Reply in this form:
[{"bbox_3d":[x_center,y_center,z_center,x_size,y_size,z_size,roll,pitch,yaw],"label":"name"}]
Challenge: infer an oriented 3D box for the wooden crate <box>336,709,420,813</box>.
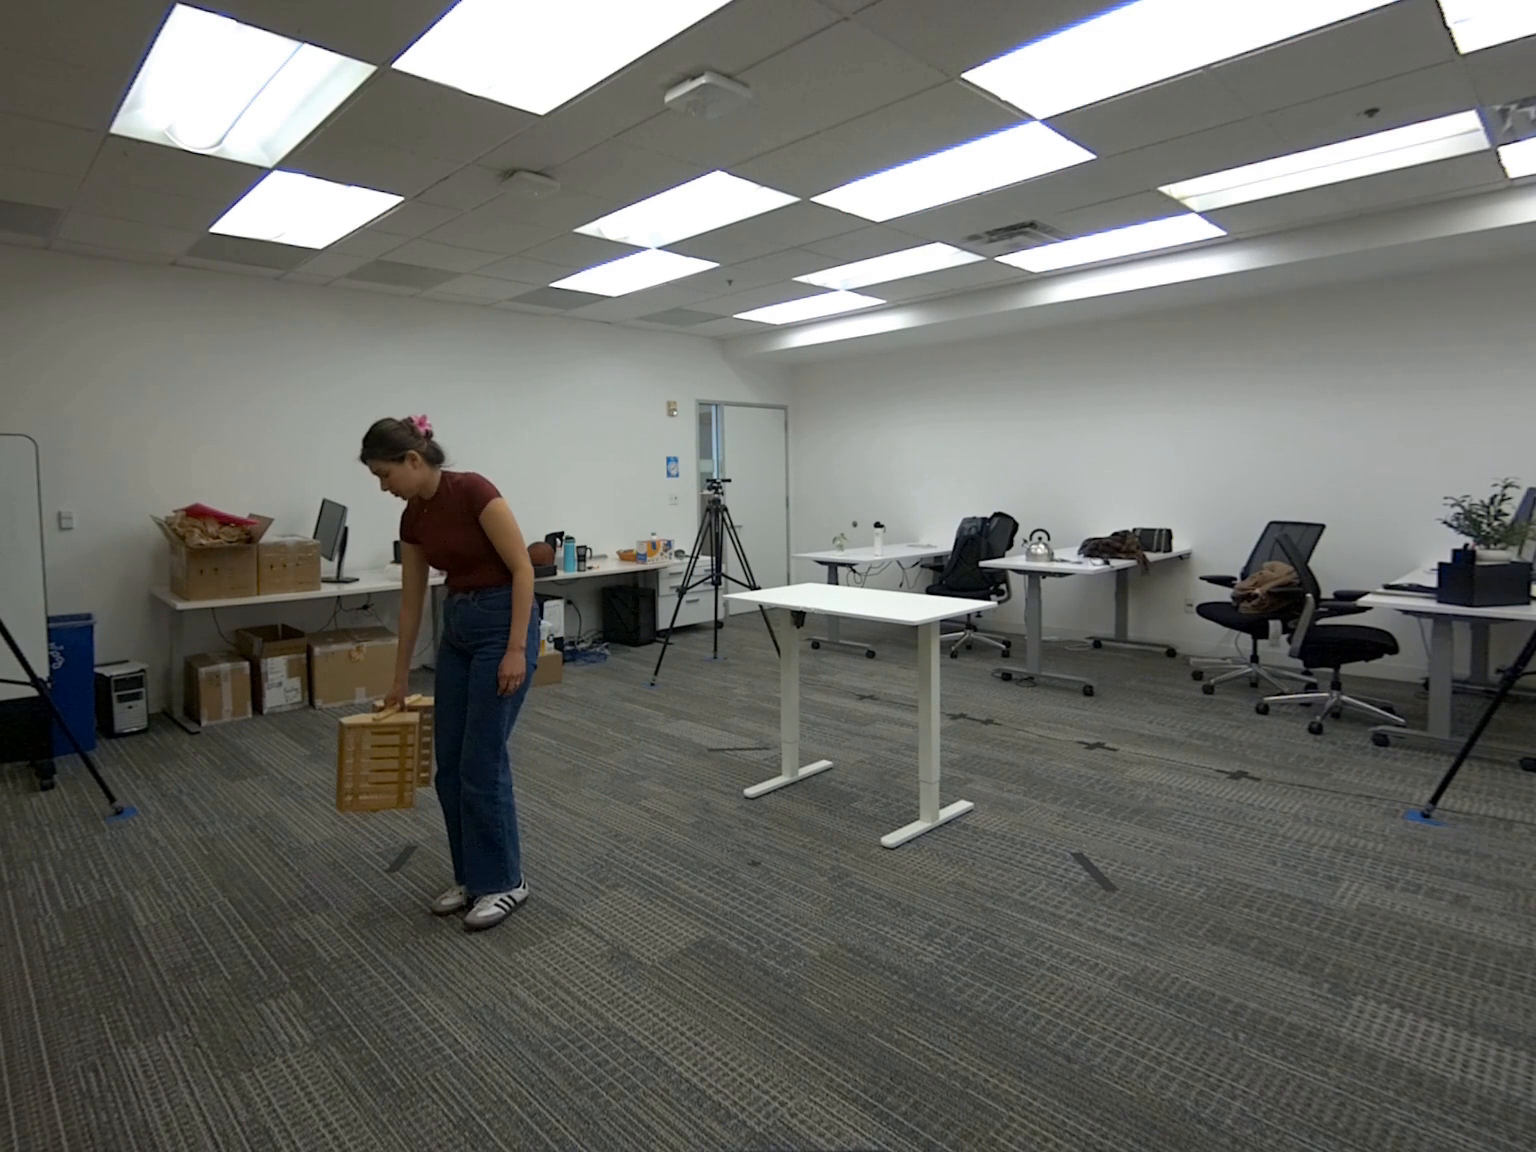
[{"bbox_3d":[-1.303,0.607,2.946,0.296,0.322,0.280,4,8,-20],"label":"wooden crate"}]
